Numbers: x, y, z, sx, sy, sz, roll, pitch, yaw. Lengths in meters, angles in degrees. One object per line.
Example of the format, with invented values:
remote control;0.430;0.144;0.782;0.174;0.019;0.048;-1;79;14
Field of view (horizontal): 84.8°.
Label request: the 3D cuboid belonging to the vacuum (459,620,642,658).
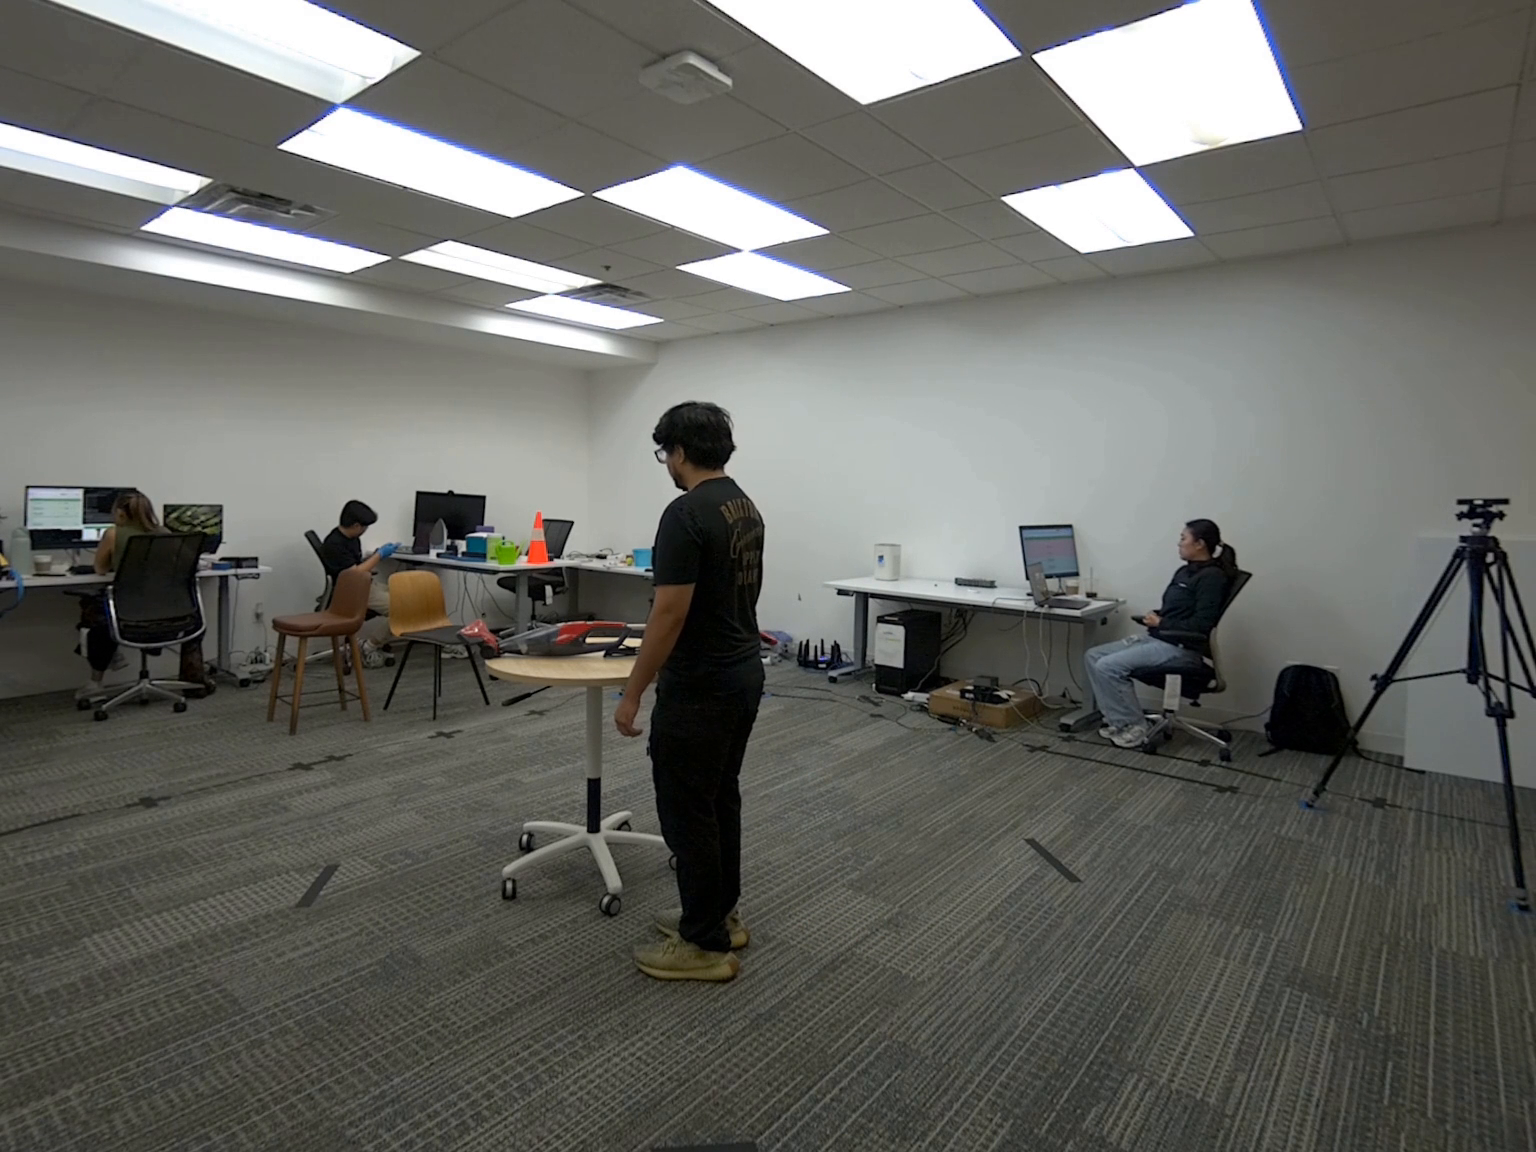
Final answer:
vacuum;-0.520;0.227;3.027;1.050;0.144;0.253;0;2;0
